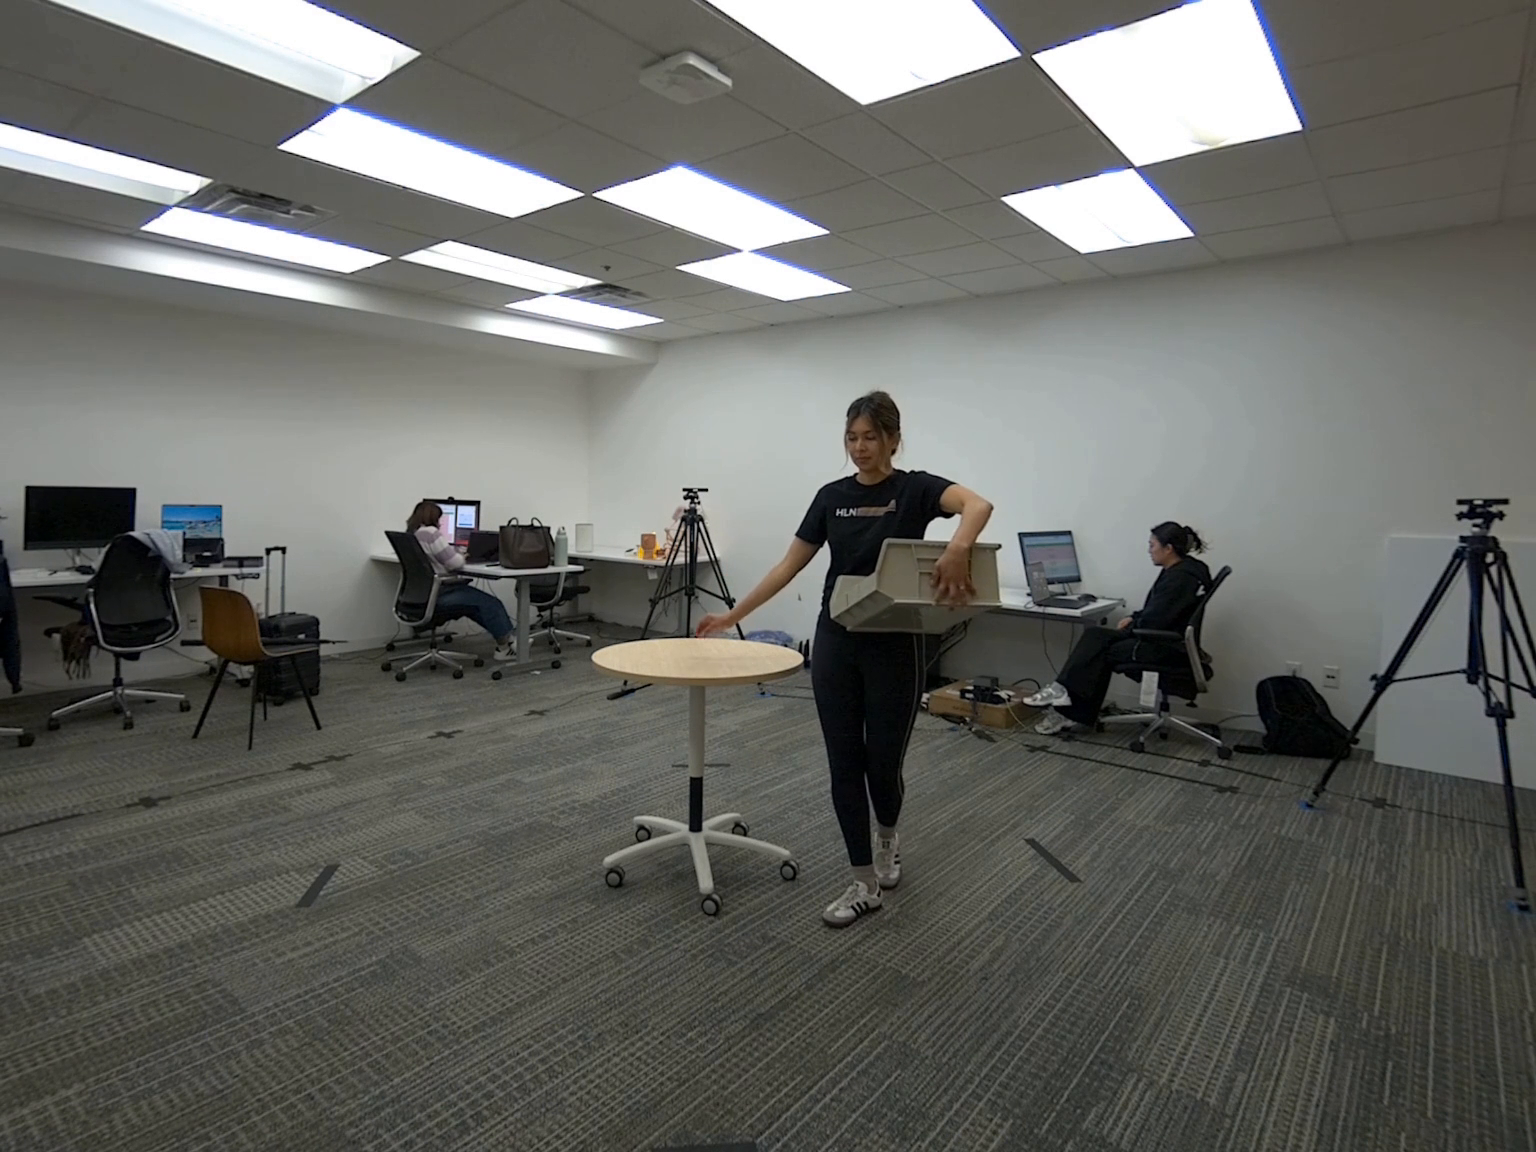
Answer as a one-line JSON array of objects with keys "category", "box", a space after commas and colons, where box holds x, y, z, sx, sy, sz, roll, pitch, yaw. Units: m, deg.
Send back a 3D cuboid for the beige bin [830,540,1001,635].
[{"category": "beige bin", "box": [0.414, 0.030, 2.514, 0.372, 0.192, 0.421, 8, -18, -12]}]
